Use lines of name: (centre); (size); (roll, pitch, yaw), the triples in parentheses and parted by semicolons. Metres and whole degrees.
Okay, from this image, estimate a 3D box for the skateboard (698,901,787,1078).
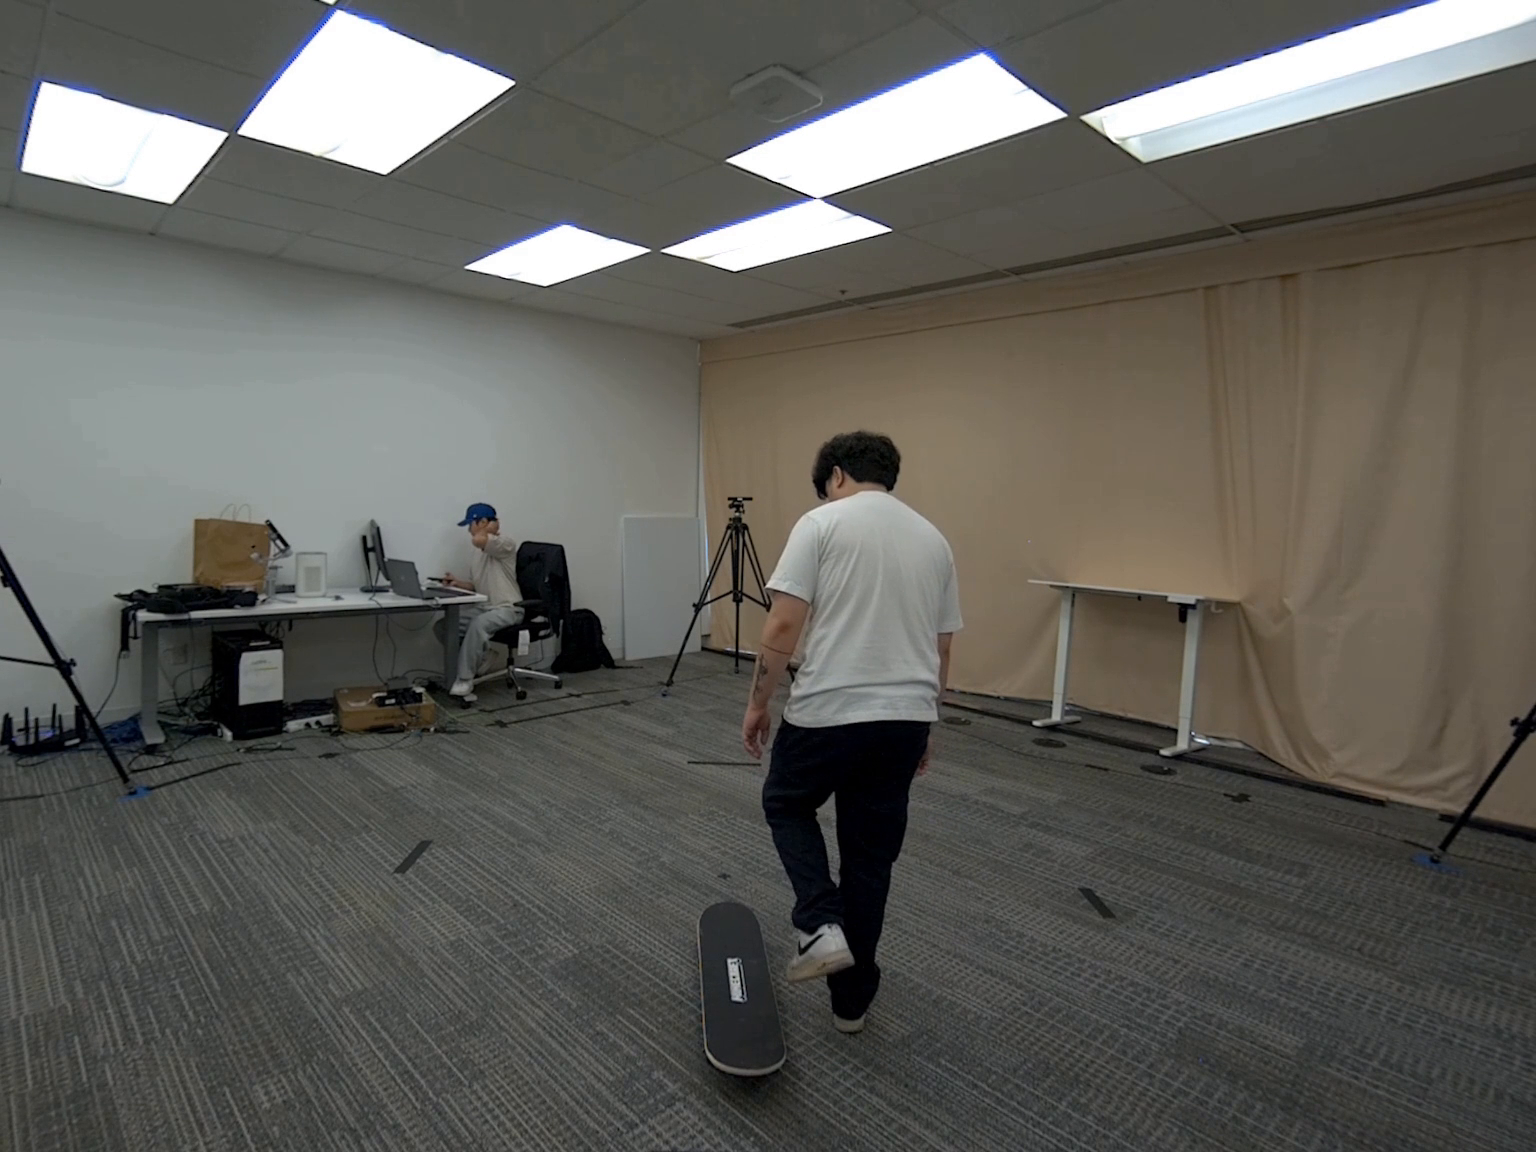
skateboard: (-0.094, 1.125, 2.293); (0.192, 0.110, 0.791); (1, 5, -7)
